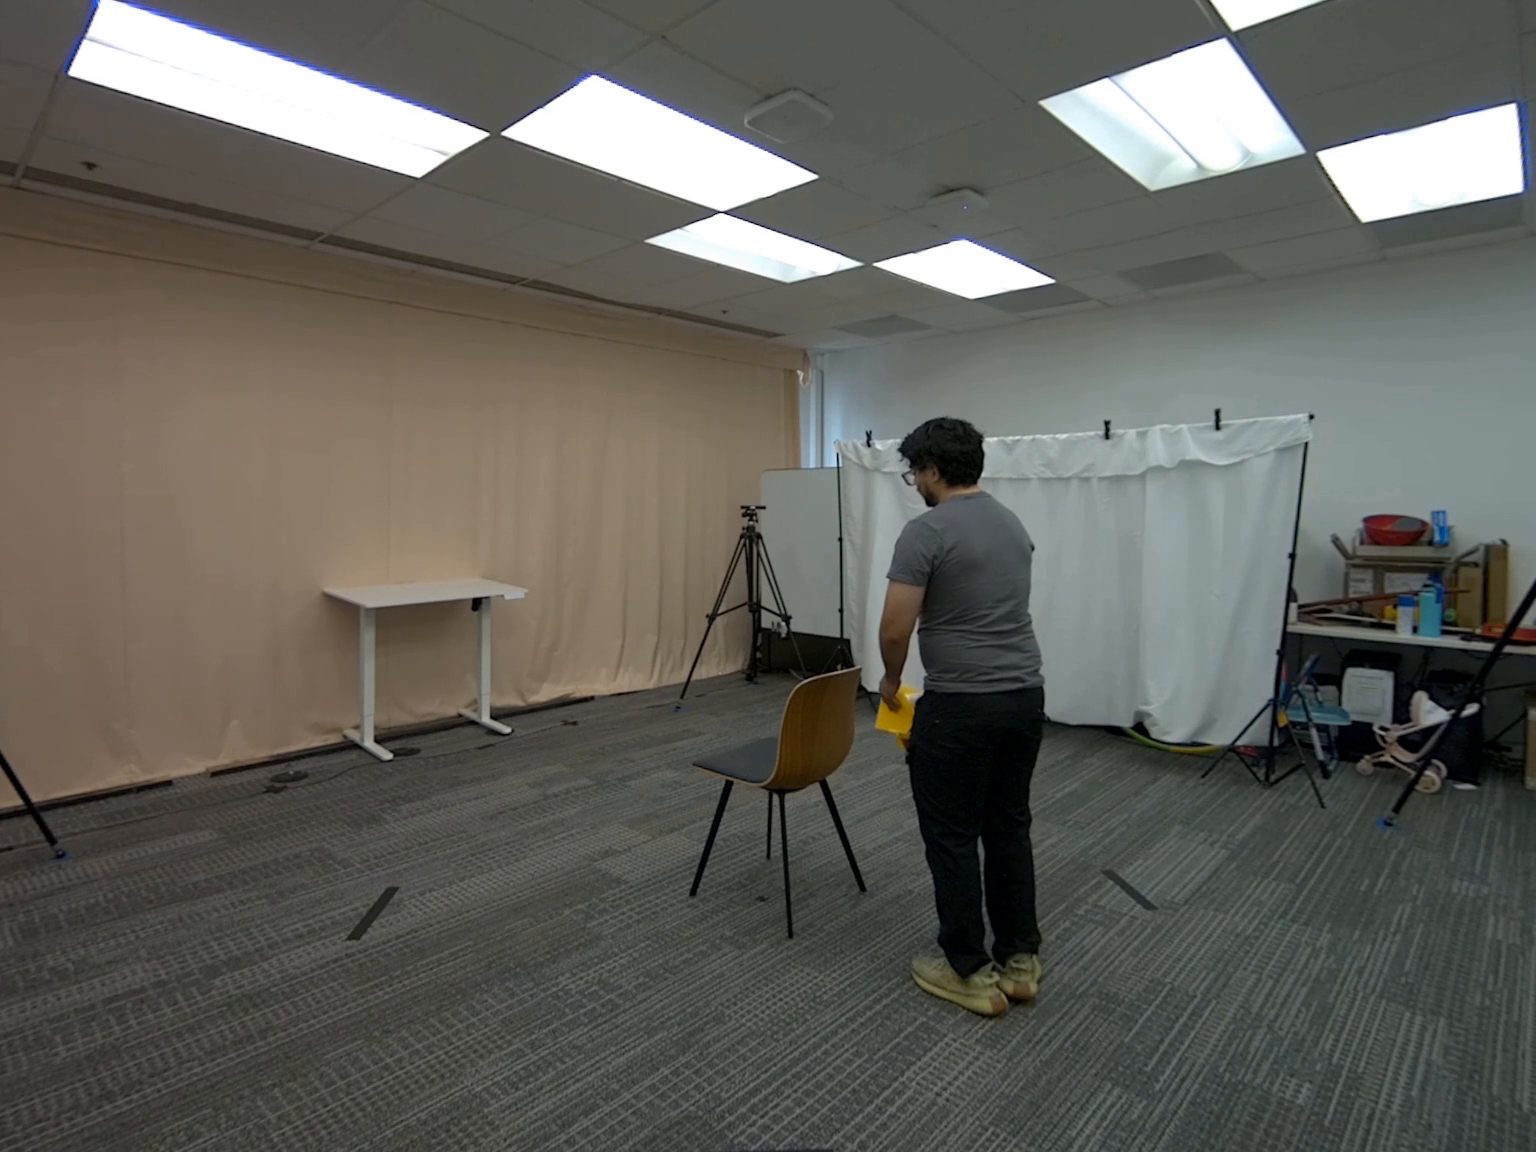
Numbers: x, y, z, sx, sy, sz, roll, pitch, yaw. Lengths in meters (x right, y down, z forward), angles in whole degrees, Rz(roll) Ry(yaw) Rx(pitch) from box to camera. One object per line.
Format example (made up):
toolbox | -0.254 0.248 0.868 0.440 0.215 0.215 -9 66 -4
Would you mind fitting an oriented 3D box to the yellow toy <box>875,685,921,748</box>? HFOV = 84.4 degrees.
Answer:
yellow toy | 0.476 0.416 2.644 0.190 0.229 0.210 -28 10 -27
